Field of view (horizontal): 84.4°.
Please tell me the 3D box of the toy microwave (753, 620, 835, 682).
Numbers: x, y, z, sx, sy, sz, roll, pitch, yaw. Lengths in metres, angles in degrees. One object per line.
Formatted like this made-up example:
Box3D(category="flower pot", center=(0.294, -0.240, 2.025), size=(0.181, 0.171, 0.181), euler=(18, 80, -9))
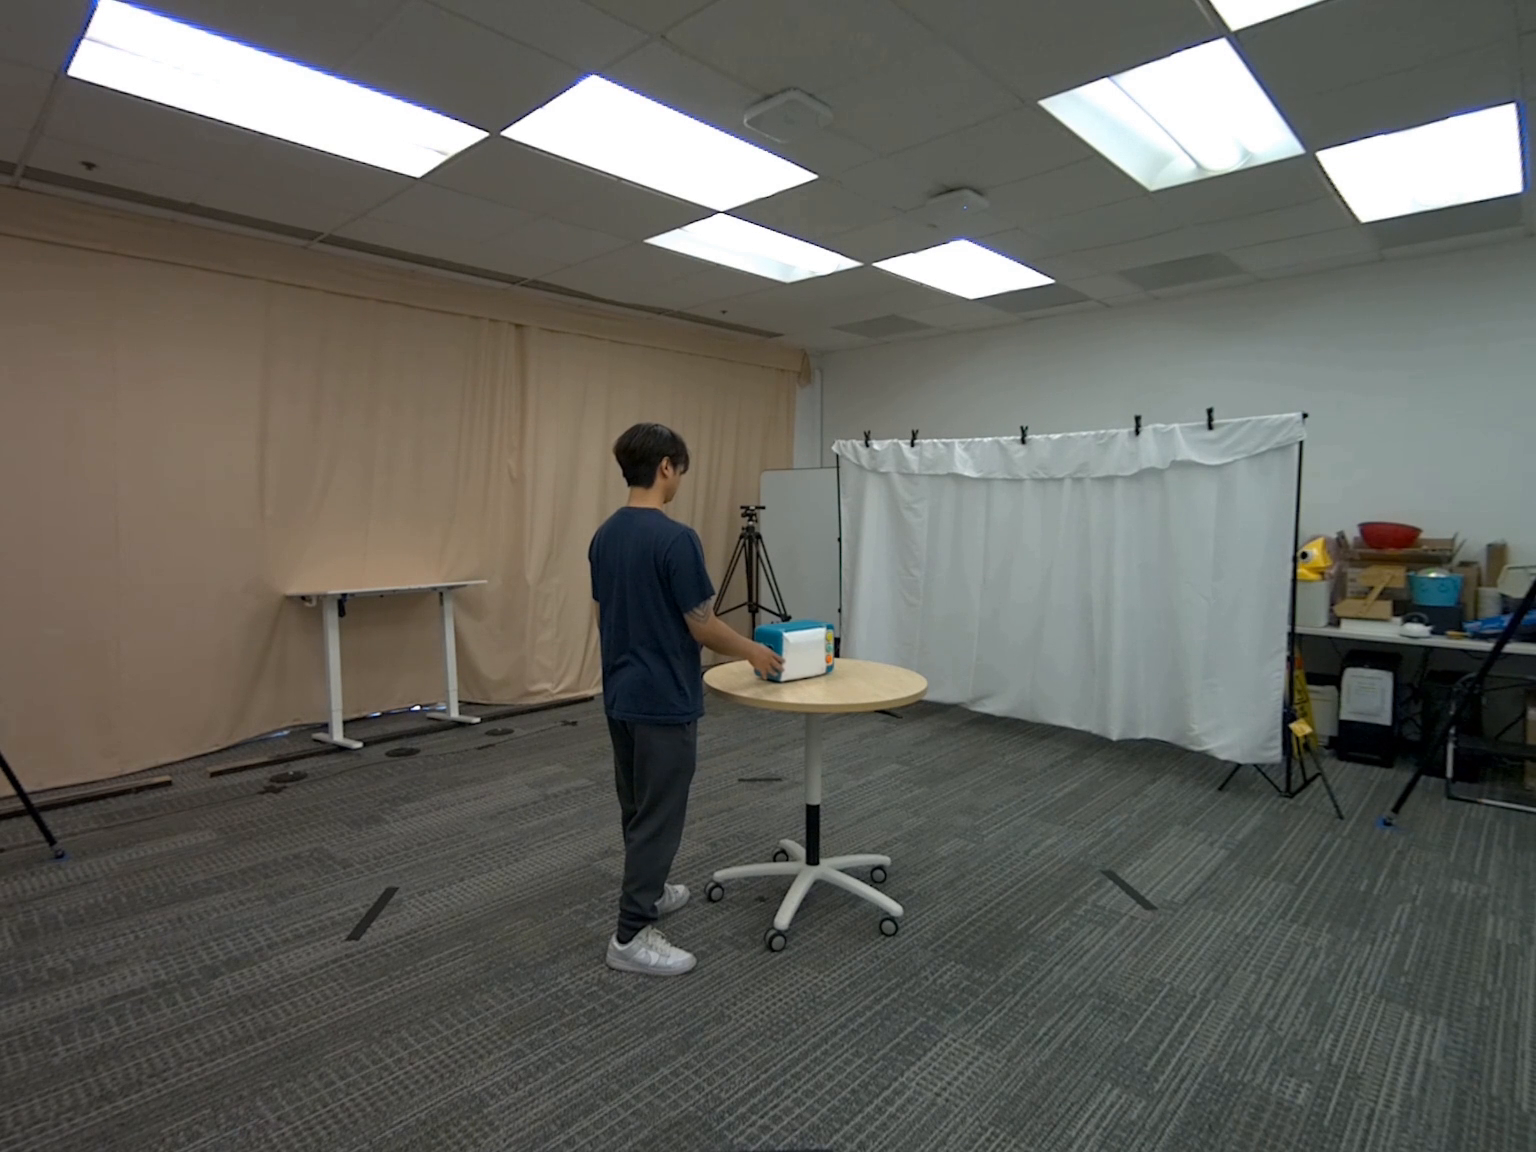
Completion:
Box3D(category="toy microwave", center=(0.108, 0.260, 2.917), size=(0.277, 0.183, 0.157), euler=(-5, 6, -43))
